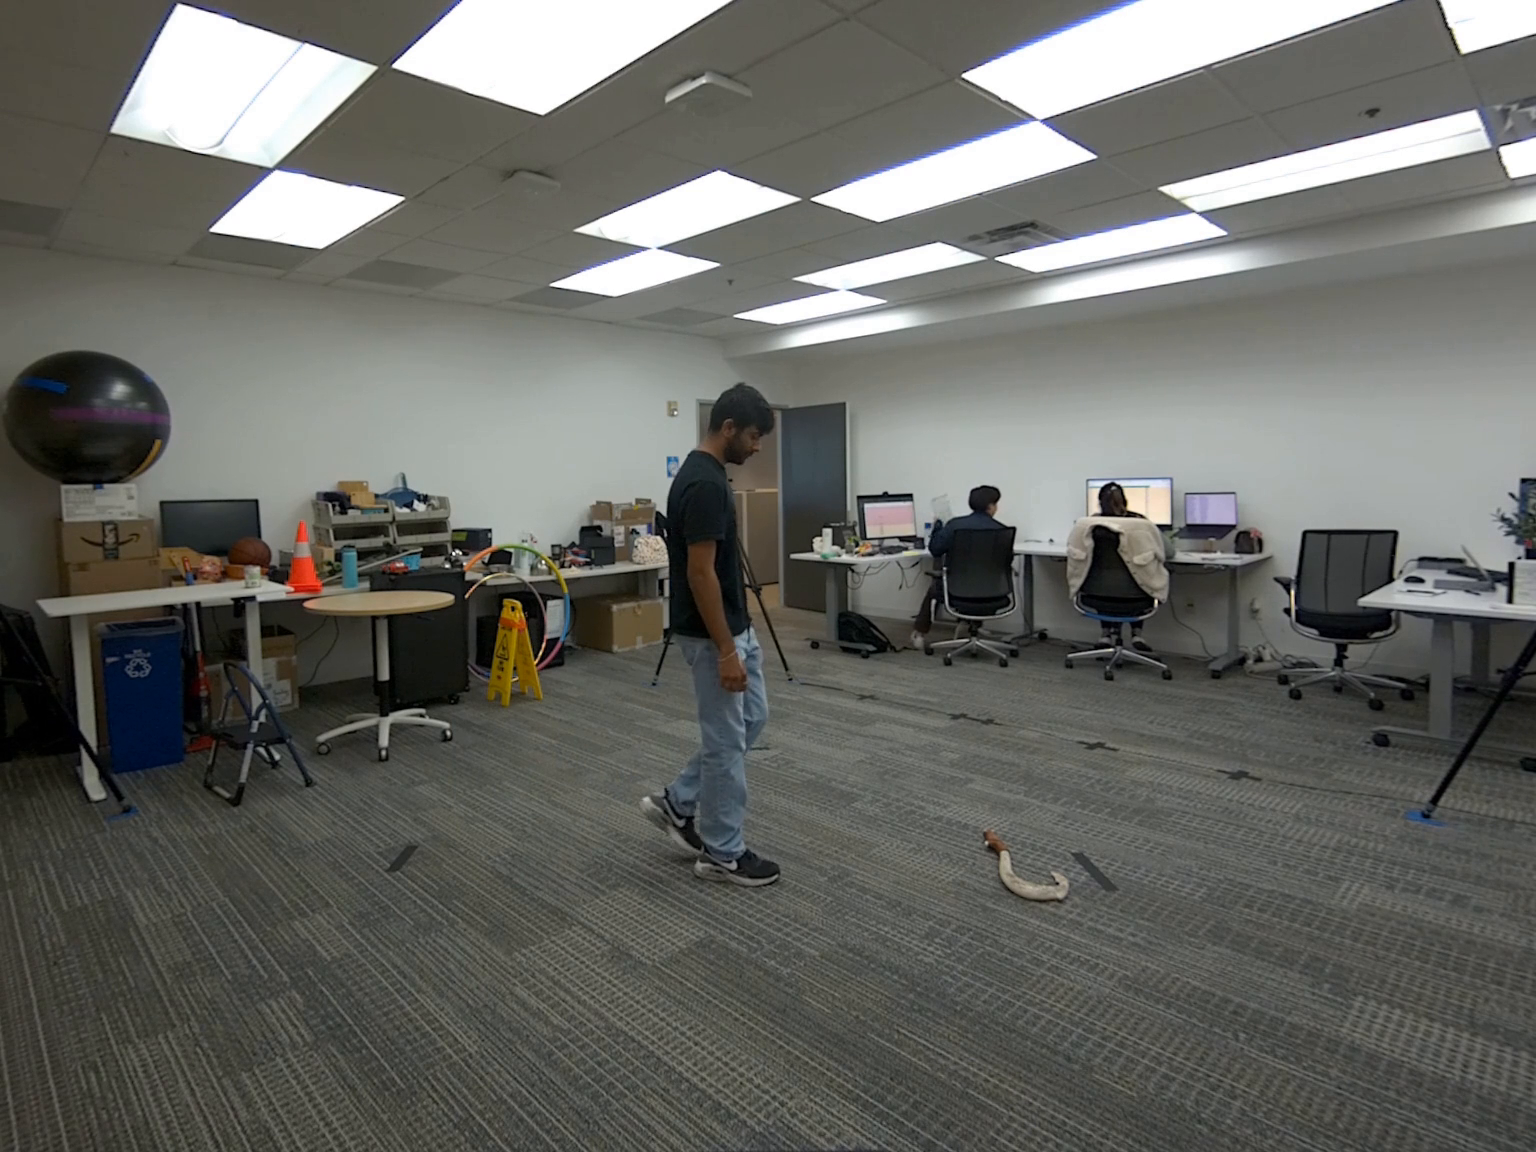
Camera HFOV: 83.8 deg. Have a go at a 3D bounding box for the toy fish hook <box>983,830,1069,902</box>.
[{"bbox_3d":[0.905,1.018,3.040,0.224,0.048,0.509,5,7,-2],"label":"toy fish hook"}]
